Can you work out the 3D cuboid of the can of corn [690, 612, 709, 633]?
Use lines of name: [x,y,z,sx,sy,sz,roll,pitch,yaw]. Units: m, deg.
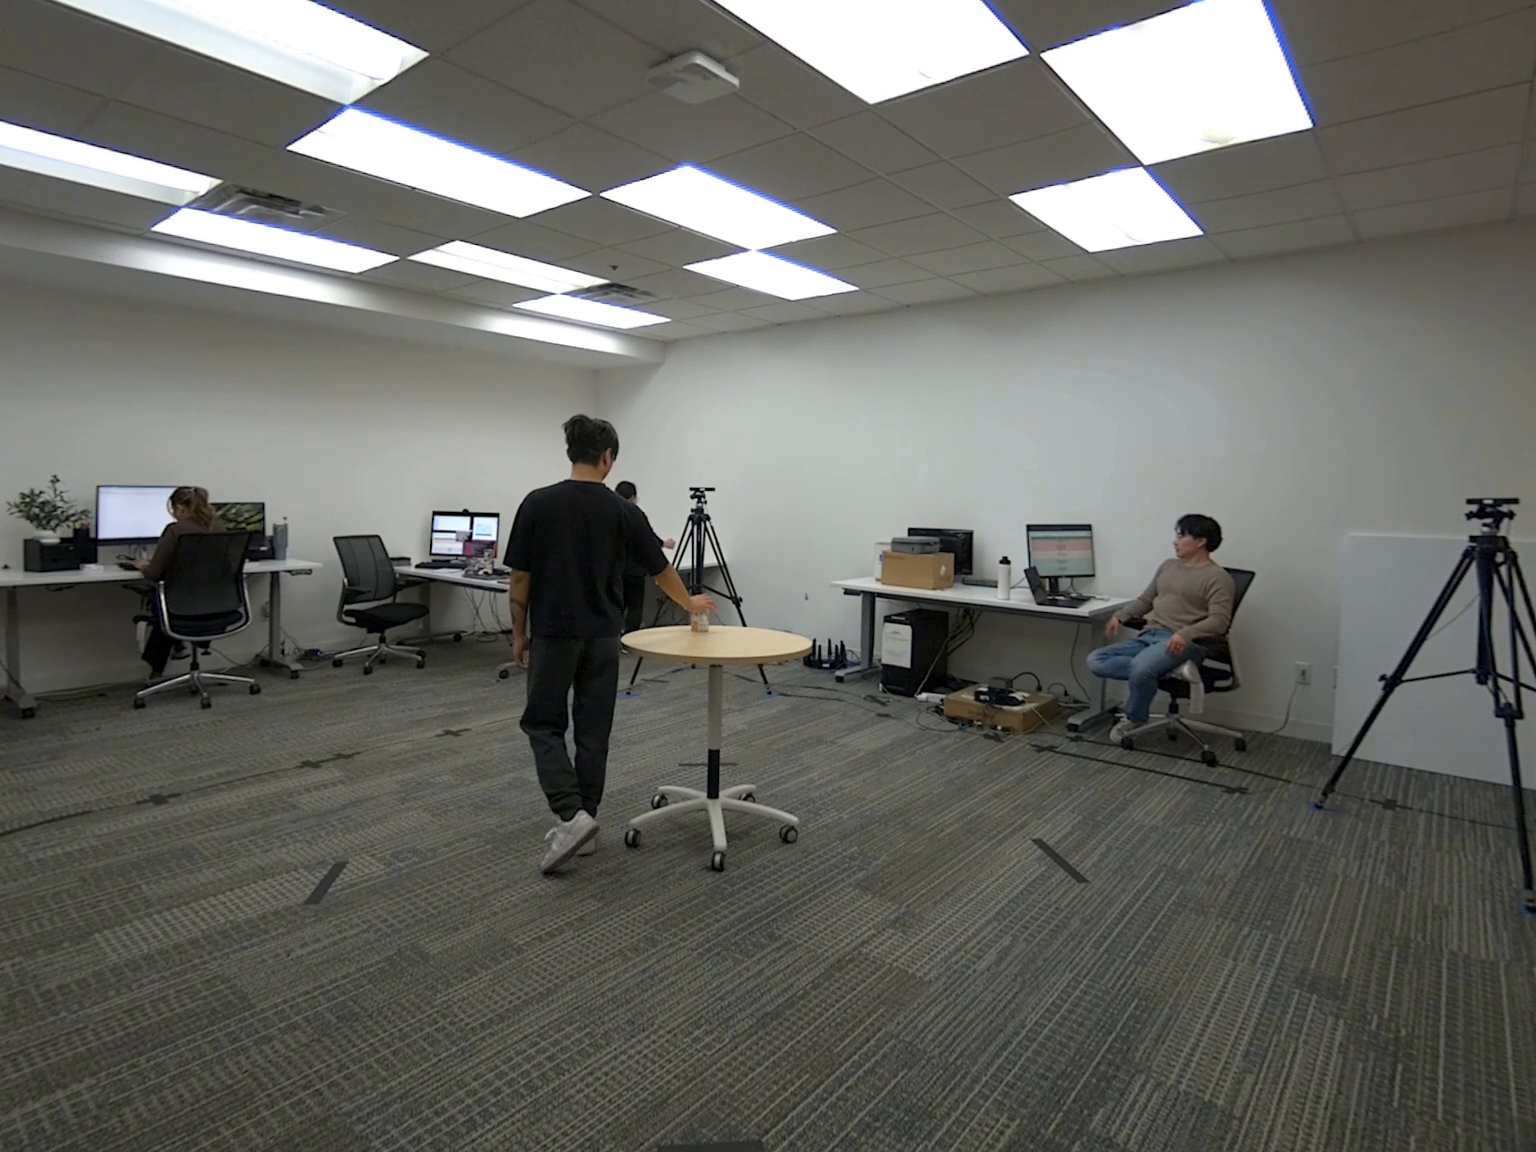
can of corn: [-0.309,0.174,3.640,0.074,0.111,0.074,1,3,-2]
